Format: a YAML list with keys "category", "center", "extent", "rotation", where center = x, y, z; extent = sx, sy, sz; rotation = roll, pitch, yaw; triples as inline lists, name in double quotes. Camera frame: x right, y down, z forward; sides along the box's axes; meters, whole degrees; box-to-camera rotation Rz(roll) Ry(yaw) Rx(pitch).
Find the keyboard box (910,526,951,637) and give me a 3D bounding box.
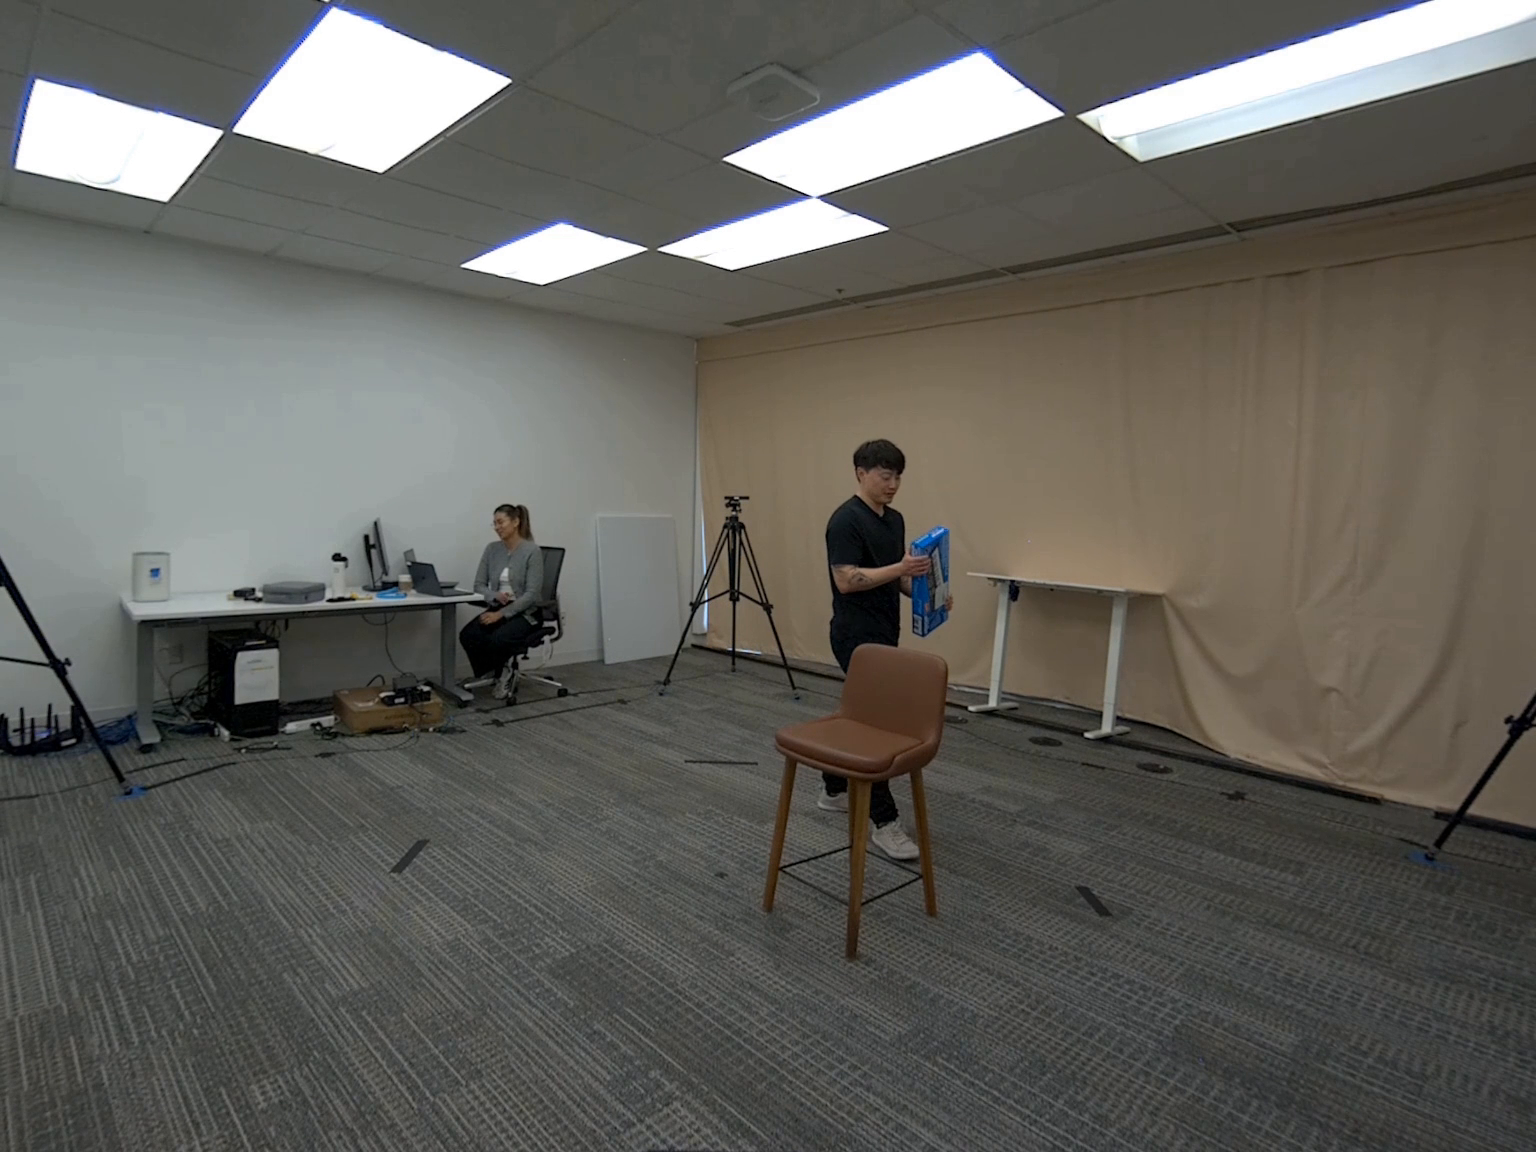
- category: "keyboard box"
  center: [0.656, 0.022, 3.426]
  extent: [0.174, 0.427, 0.061]
  rotation: [-29, 37, -33]
